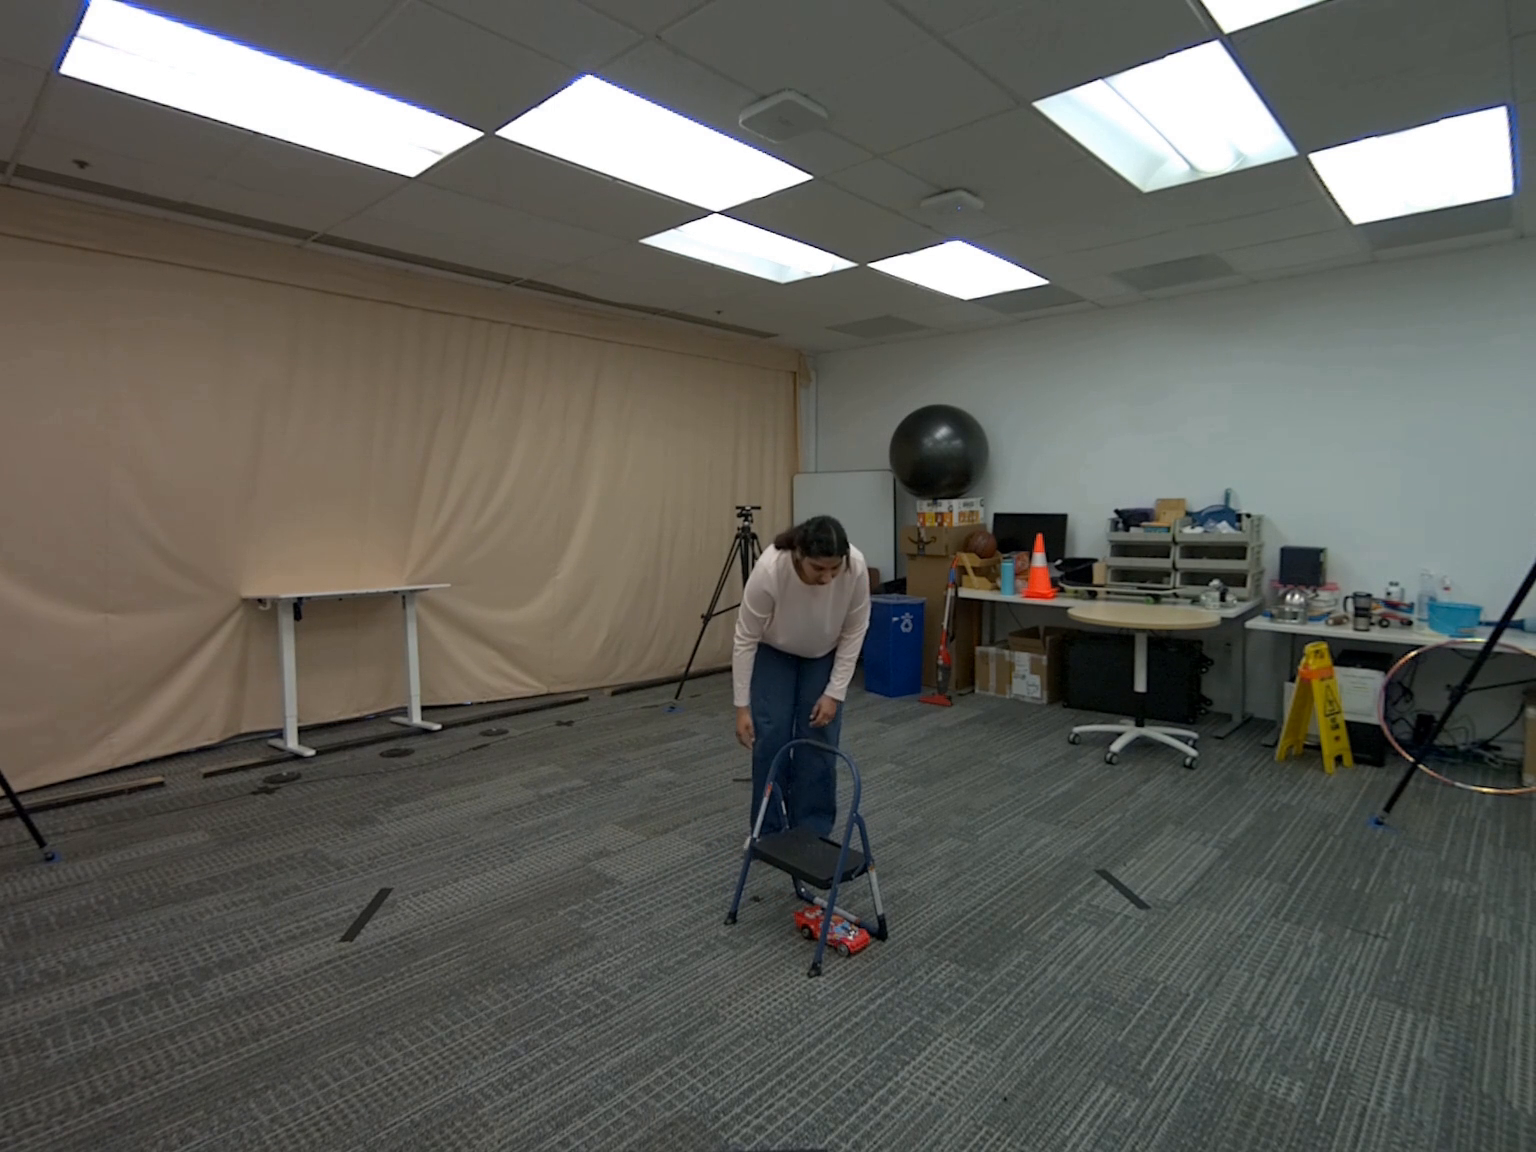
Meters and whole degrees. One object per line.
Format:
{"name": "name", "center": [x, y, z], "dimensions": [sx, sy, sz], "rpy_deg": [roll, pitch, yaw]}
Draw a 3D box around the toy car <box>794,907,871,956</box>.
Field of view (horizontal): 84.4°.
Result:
{"name": "toy car", "center": [0.195, 1.127, 2.705], "dimensions": [0.126, 0.083, 0.264], "rpy_deg": [-5, 18, -44]}
